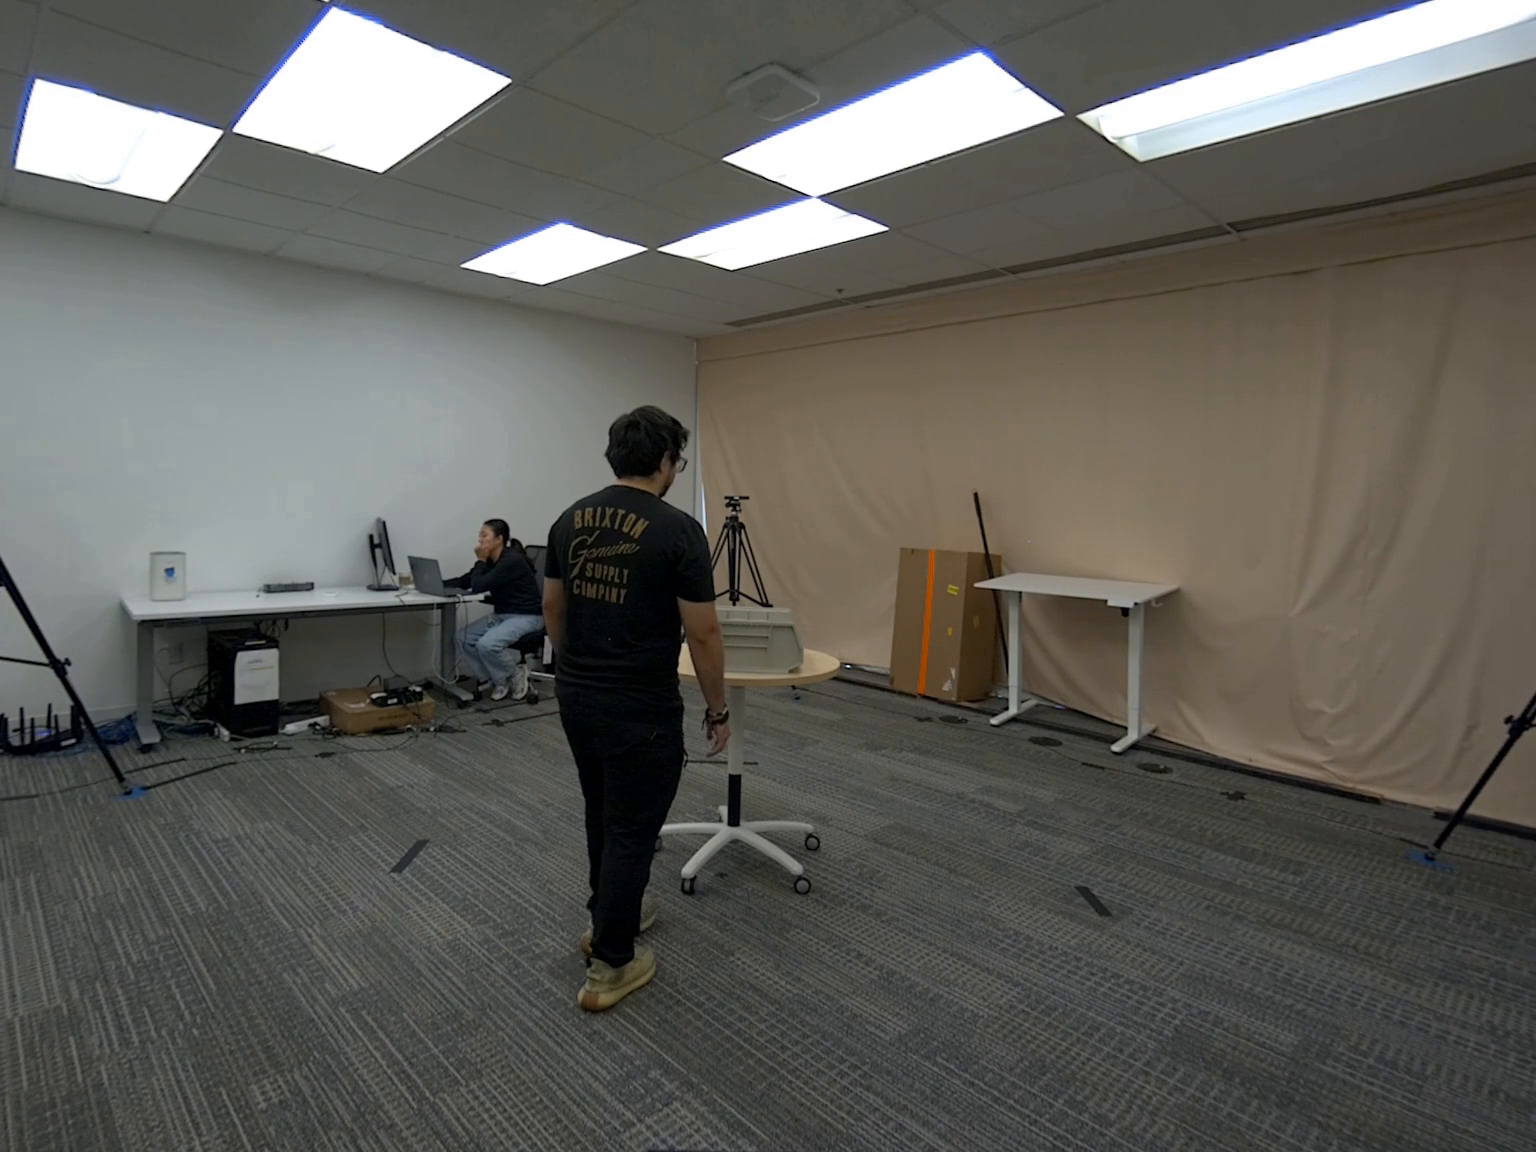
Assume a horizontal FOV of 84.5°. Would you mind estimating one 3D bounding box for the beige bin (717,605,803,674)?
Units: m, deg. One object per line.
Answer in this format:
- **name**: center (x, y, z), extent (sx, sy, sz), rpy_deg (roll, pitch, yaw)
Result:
- **beige bin**: center (-0.059, 0.237, 3.125), extent (0.377, 0.188, 0.423), rpy_deg (0, 4, 0)
